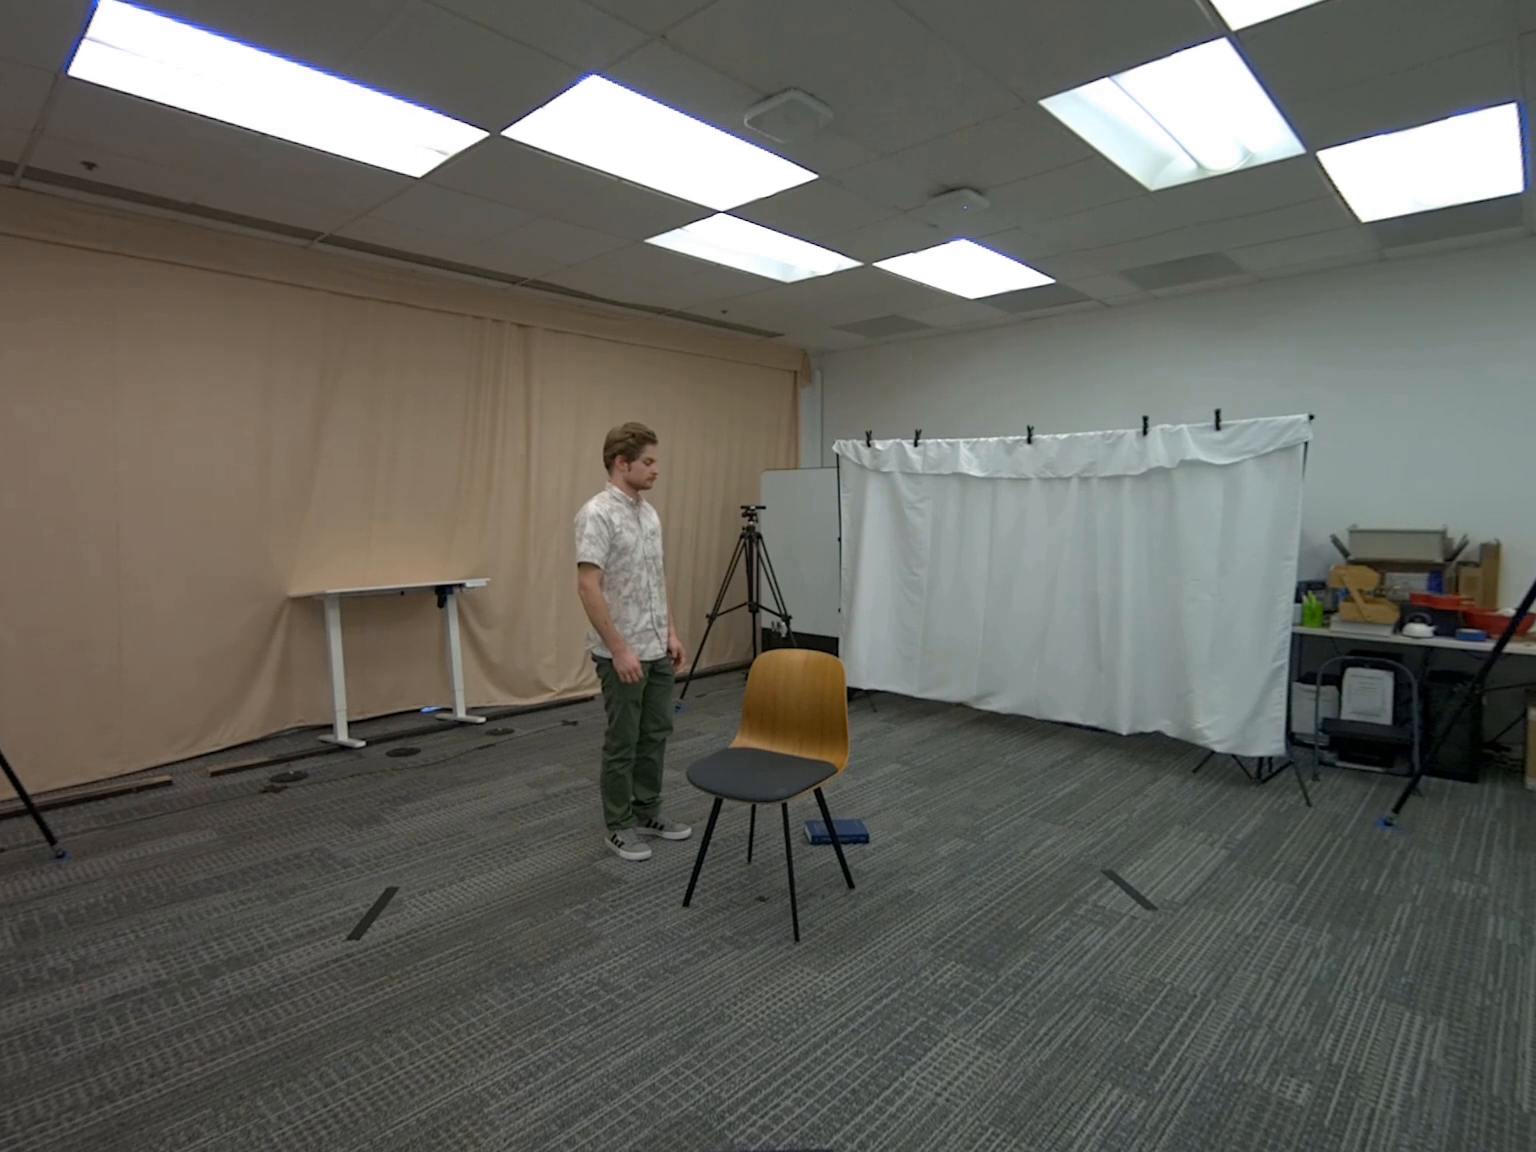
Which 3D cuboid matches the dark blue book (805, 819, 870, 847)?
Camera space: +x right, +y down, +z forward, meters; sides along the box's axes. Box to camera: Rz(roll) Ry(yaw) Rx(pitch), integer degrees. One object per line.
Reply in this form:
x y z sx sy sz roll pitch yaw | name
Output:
0.292 1.075 3.535 0.244 0.045 0.165 -1 4 -6 | dark blue book
